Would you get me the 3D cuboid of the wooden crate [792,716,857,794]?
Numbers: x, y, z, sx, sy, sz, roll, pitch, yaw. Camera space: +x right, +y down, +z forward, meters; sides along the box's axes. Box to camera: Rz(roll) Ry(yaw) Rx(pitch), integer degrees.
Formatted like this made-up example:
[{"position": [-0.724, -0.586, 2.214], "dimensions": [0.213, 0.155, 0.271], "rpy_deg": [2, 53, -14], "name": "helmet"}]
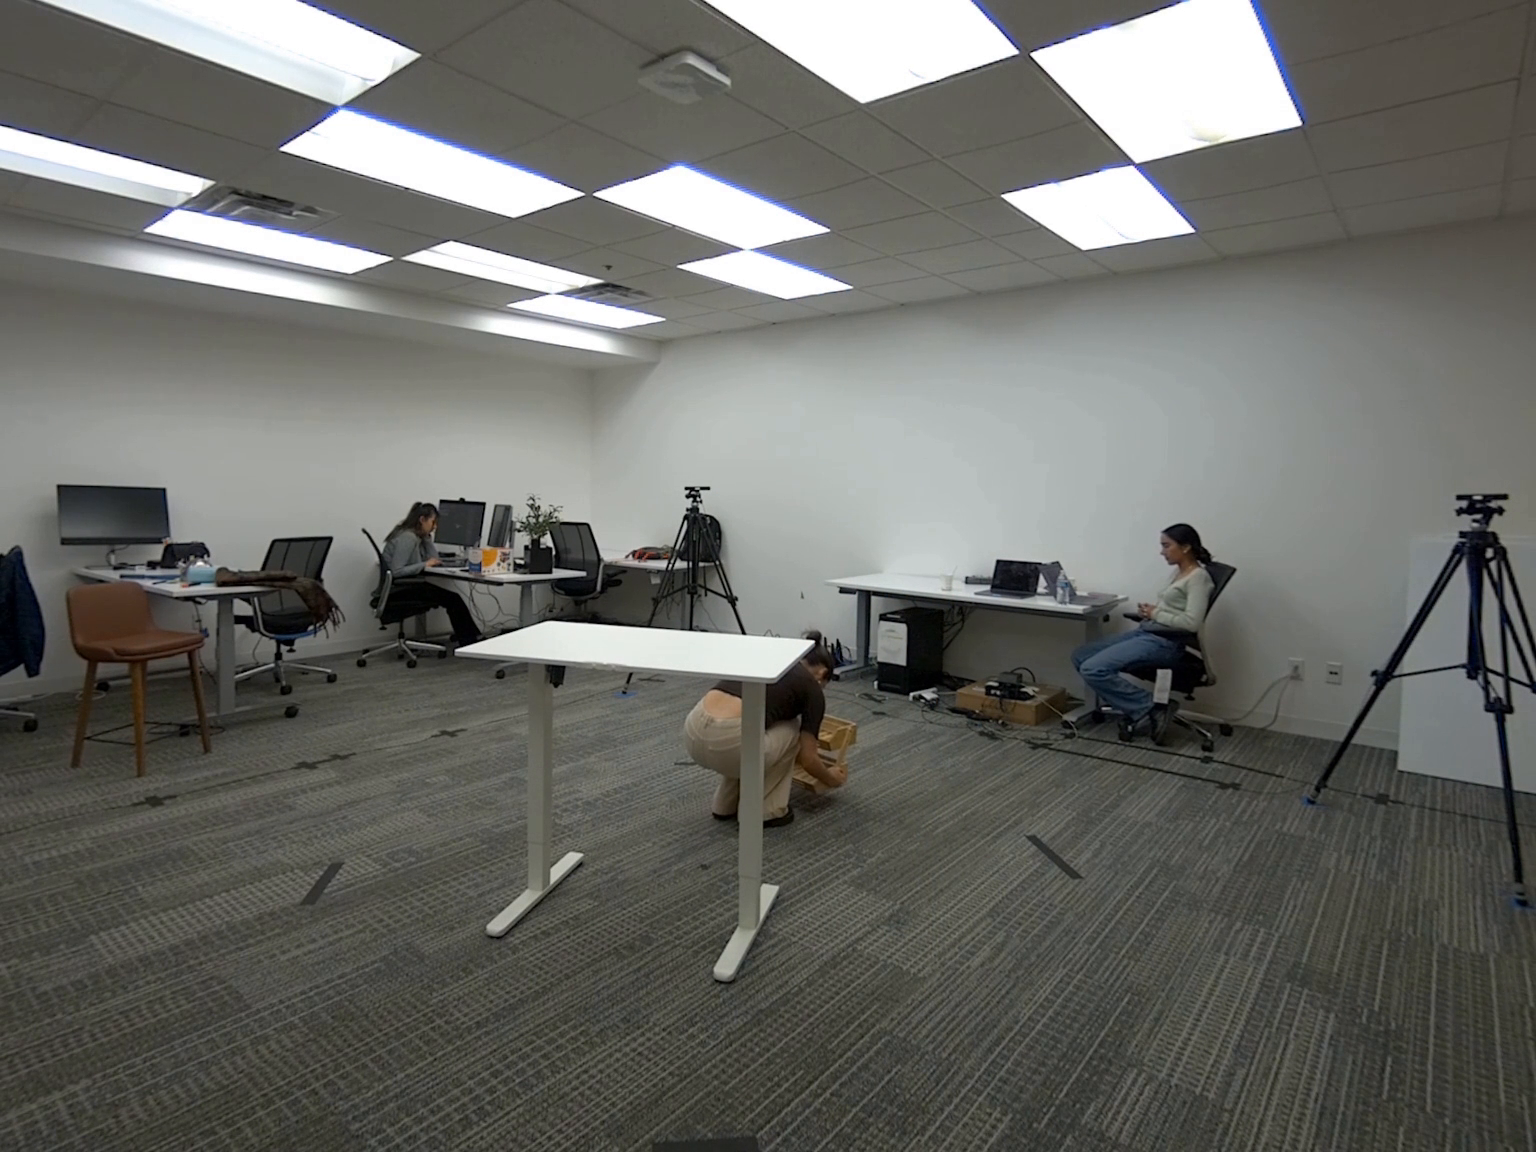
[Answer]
[{"position": [0.177, 0.782, 3.859], "dimensions": [0.336, 0.272, 0.293], "rpy_deg": [9, 8, 41], "name": "wooden crate"}]
